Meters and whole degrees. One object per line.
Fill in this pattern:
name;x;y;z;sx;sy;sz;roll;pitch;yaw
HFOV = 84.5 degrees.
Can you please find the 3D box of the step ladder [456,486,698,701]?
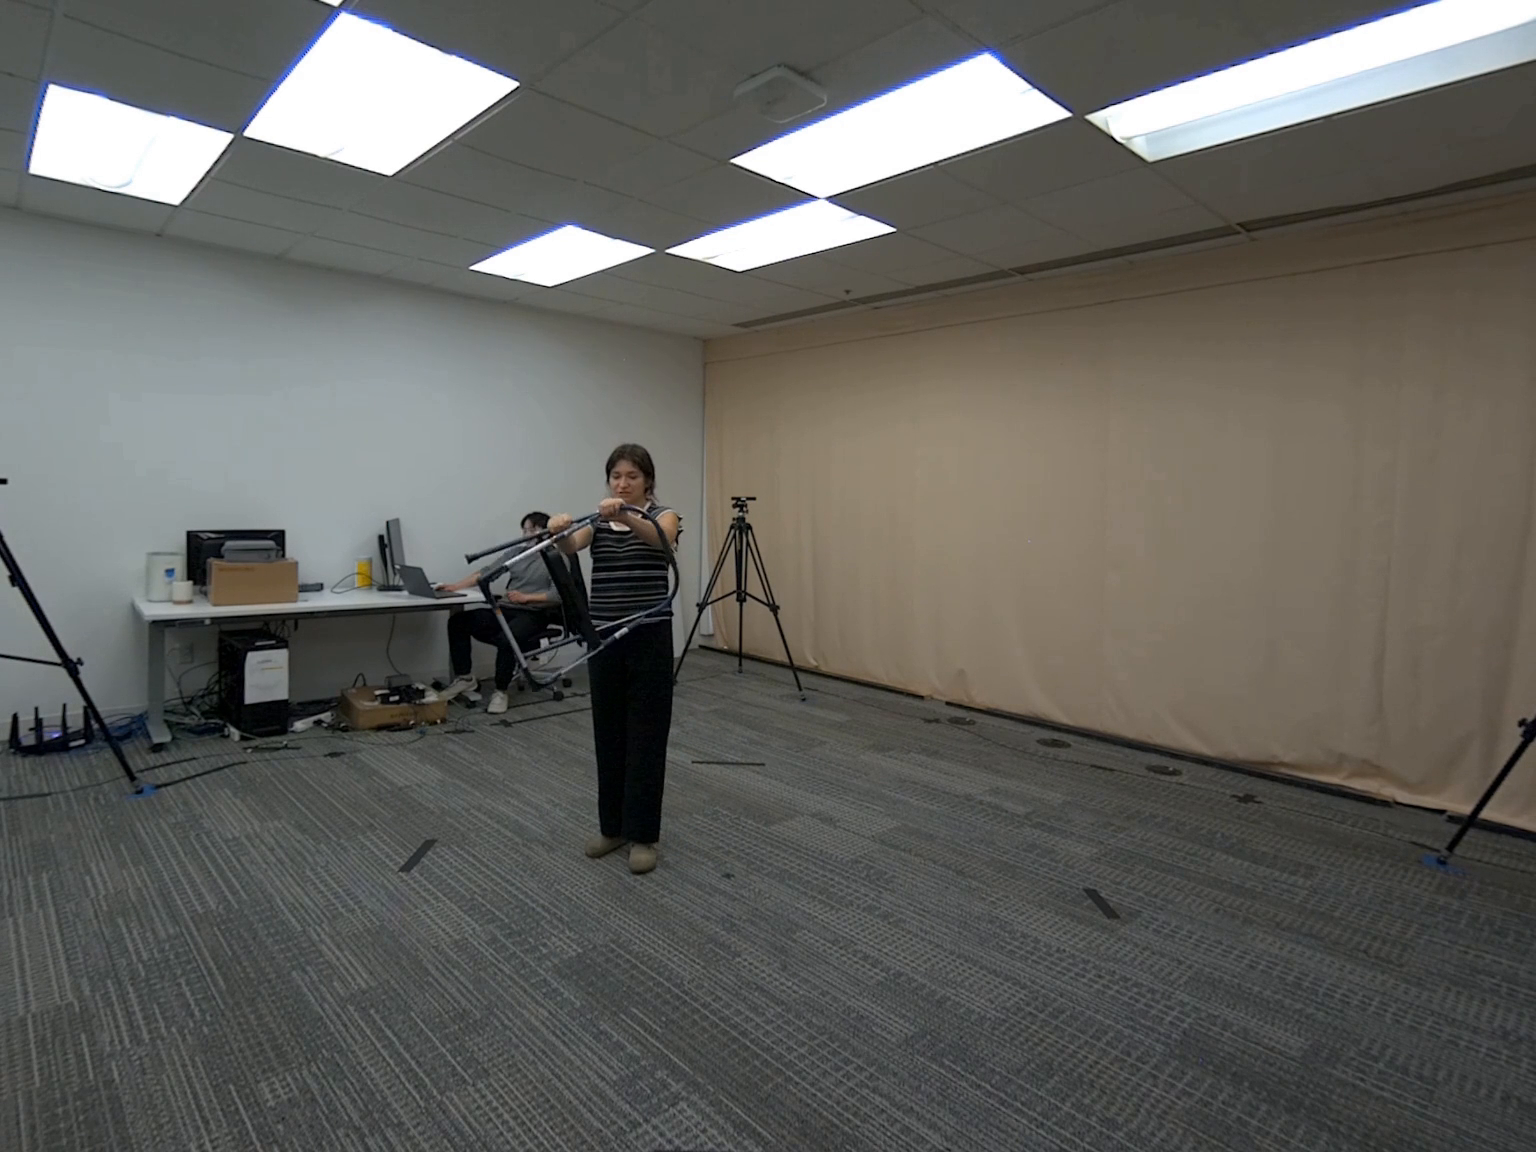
step ladder;-0.633;0.023;2.793;0.602;0.422;0.358;-27;22;-15
